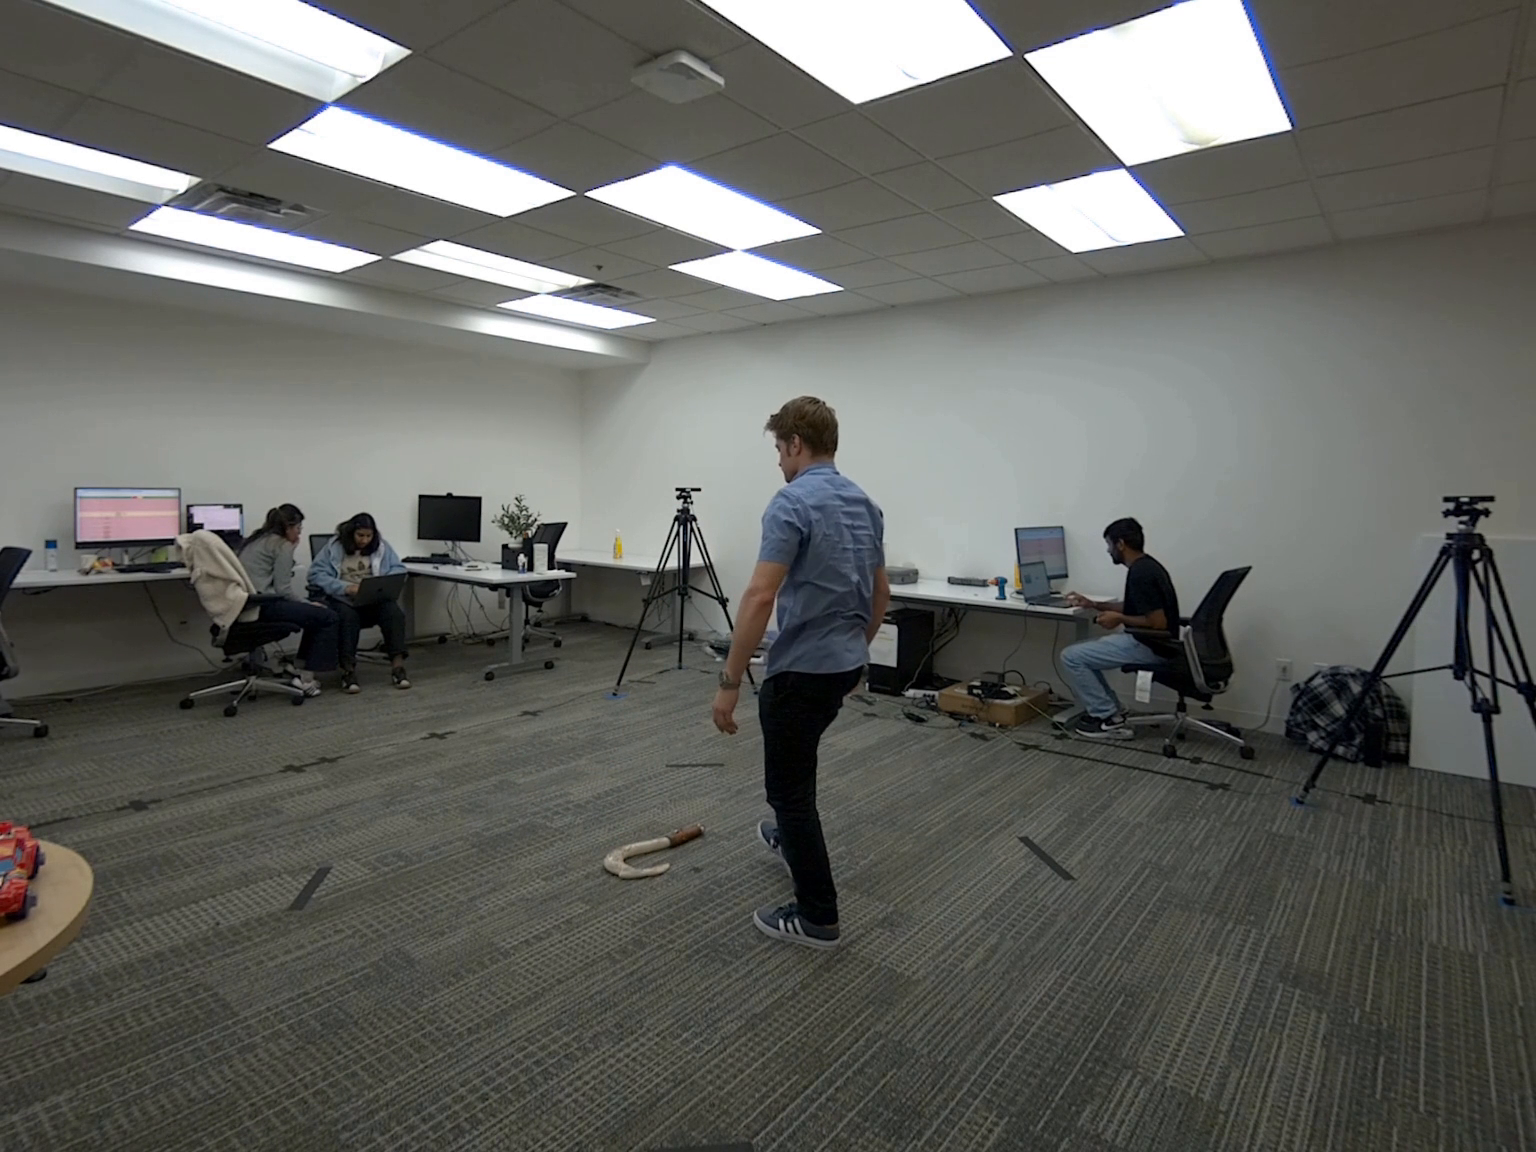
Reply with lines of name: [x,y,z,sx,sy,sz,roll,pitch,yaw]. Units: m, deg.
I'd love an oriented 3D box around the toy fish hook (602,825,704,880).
toy fish hook: [-0.397,1.040,3.218,0.233,0.048,0.492,15,15,41]
